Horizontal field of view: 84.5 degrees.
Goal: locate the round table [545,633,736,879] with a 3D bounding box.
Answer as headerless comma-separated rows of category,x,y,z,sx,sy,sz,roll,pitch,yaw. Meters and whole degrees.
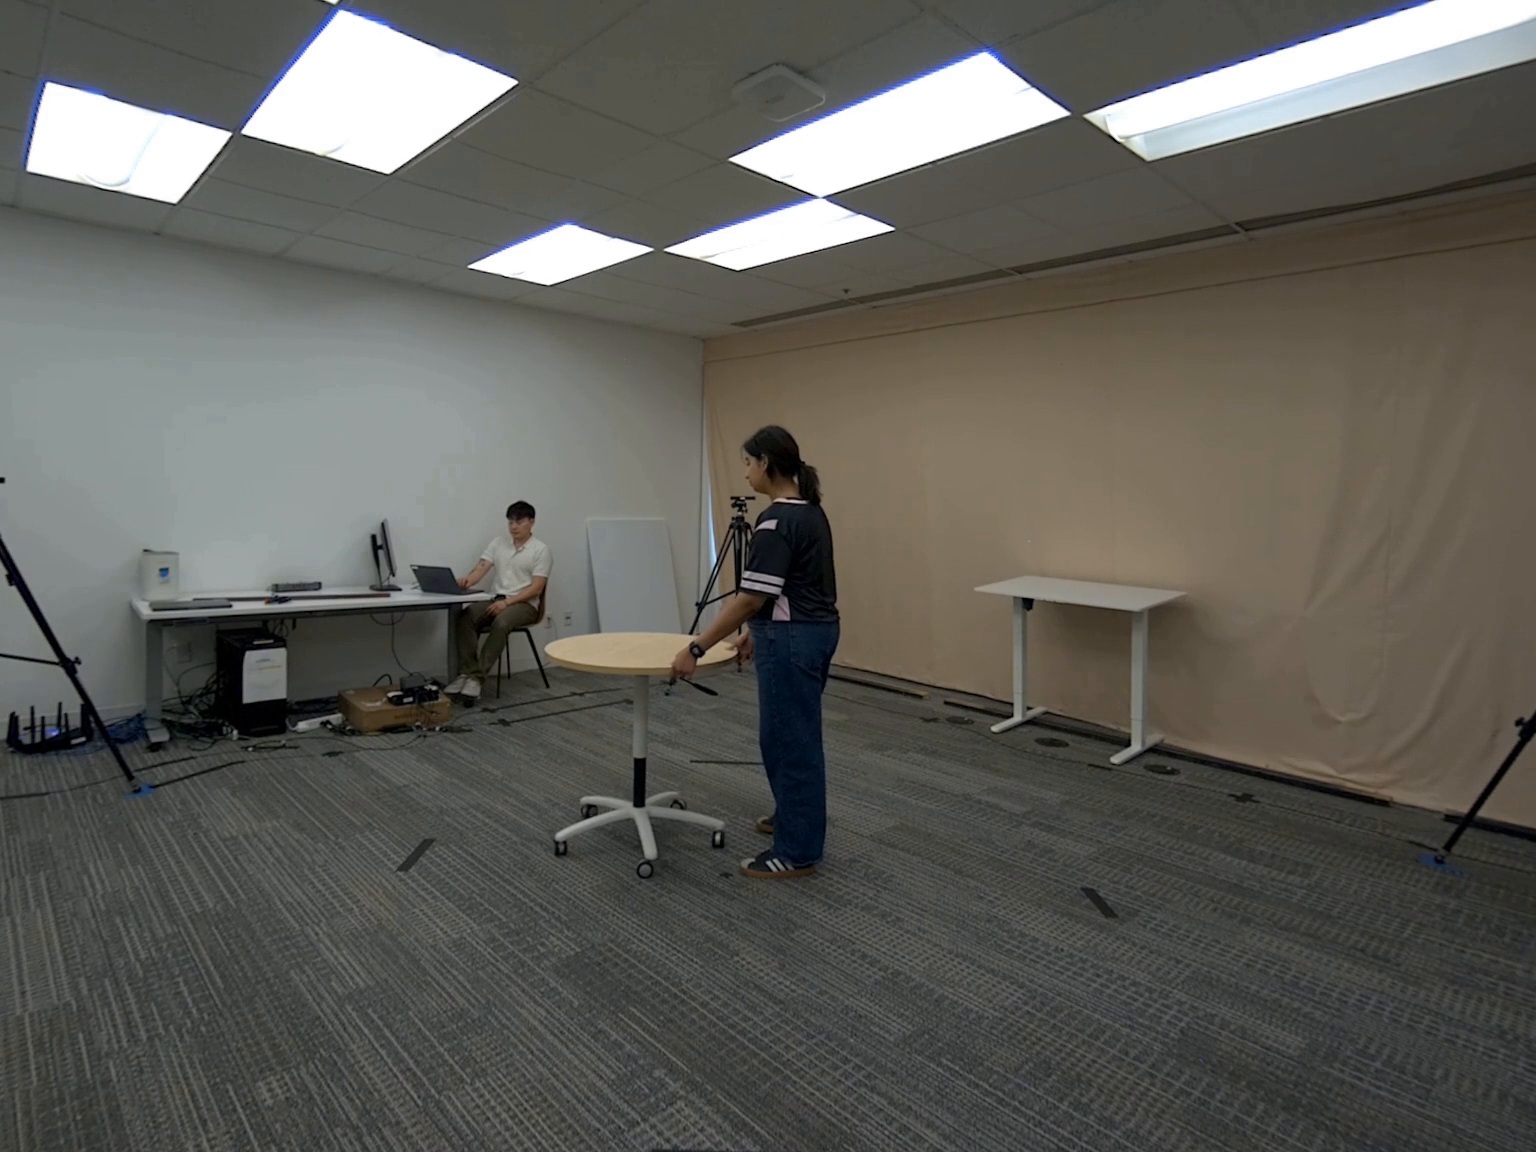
round table,-0.519,0.681,3.390,0.763,0.792,0.766,2,4,-1
